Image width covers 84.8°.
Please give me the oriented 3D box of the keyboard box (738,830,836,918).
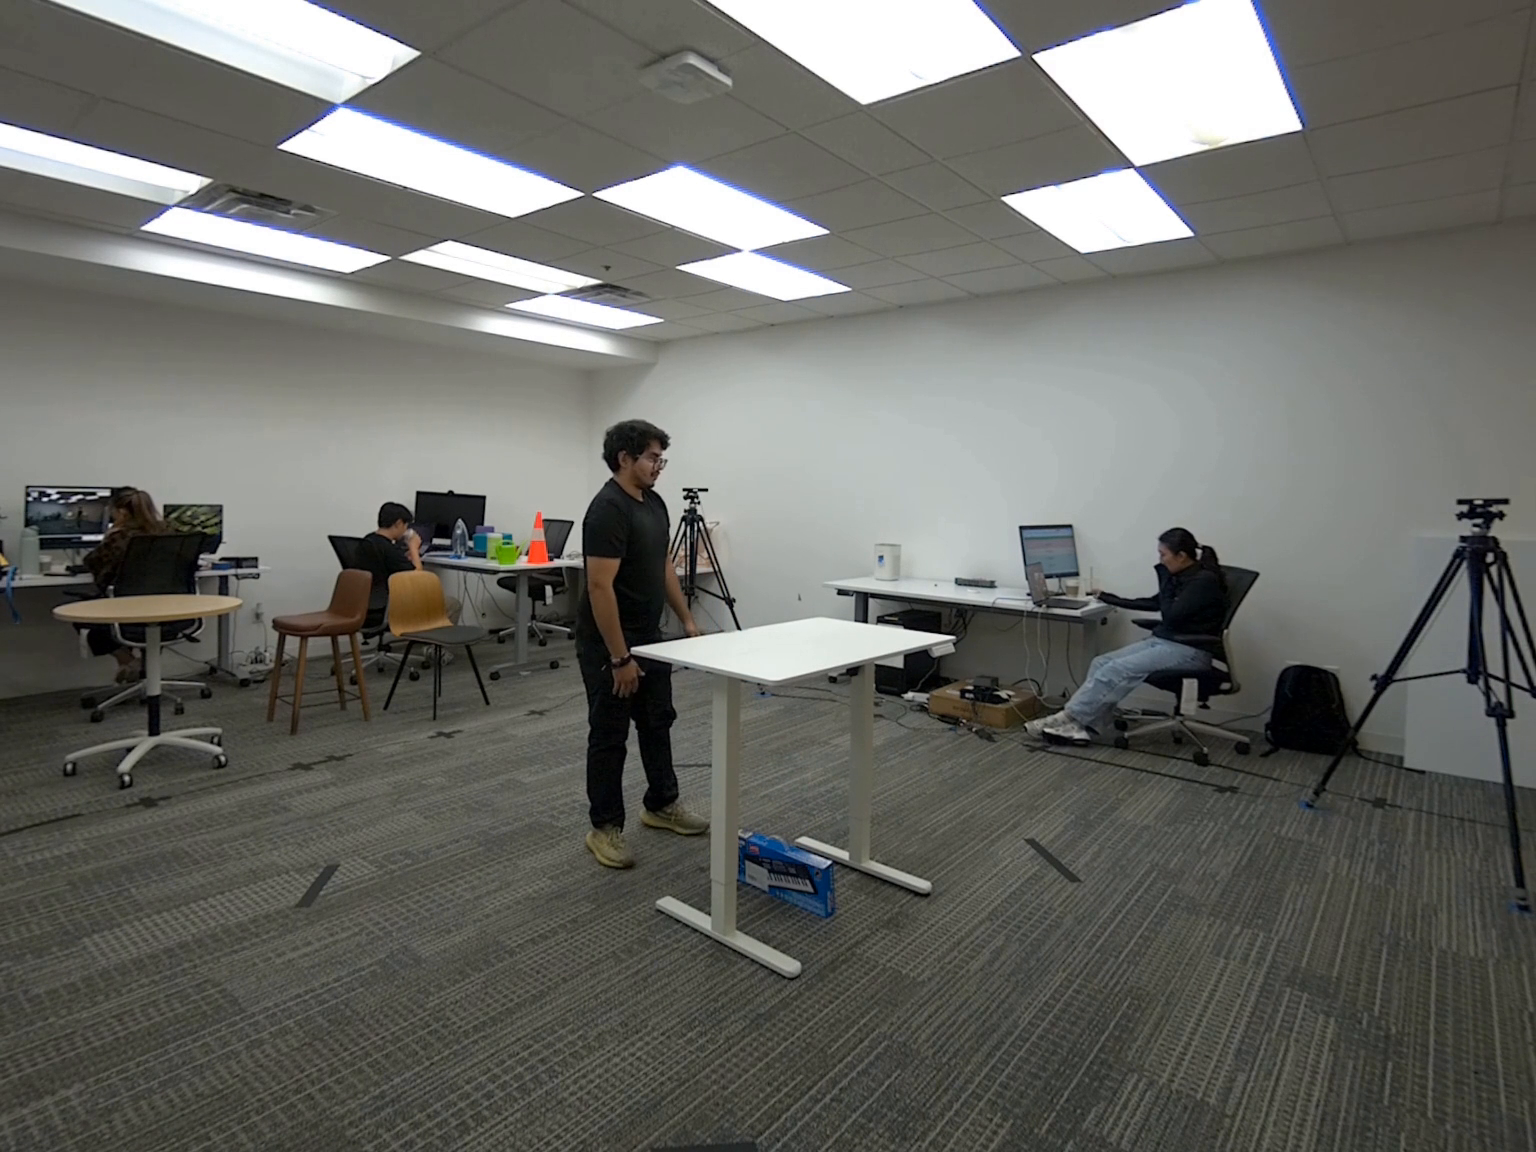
[{"bbox_3d":[0.025,1.006,2.921,0.452,0.174,0.057,5,11,40],"label":"keyboard box"}]
